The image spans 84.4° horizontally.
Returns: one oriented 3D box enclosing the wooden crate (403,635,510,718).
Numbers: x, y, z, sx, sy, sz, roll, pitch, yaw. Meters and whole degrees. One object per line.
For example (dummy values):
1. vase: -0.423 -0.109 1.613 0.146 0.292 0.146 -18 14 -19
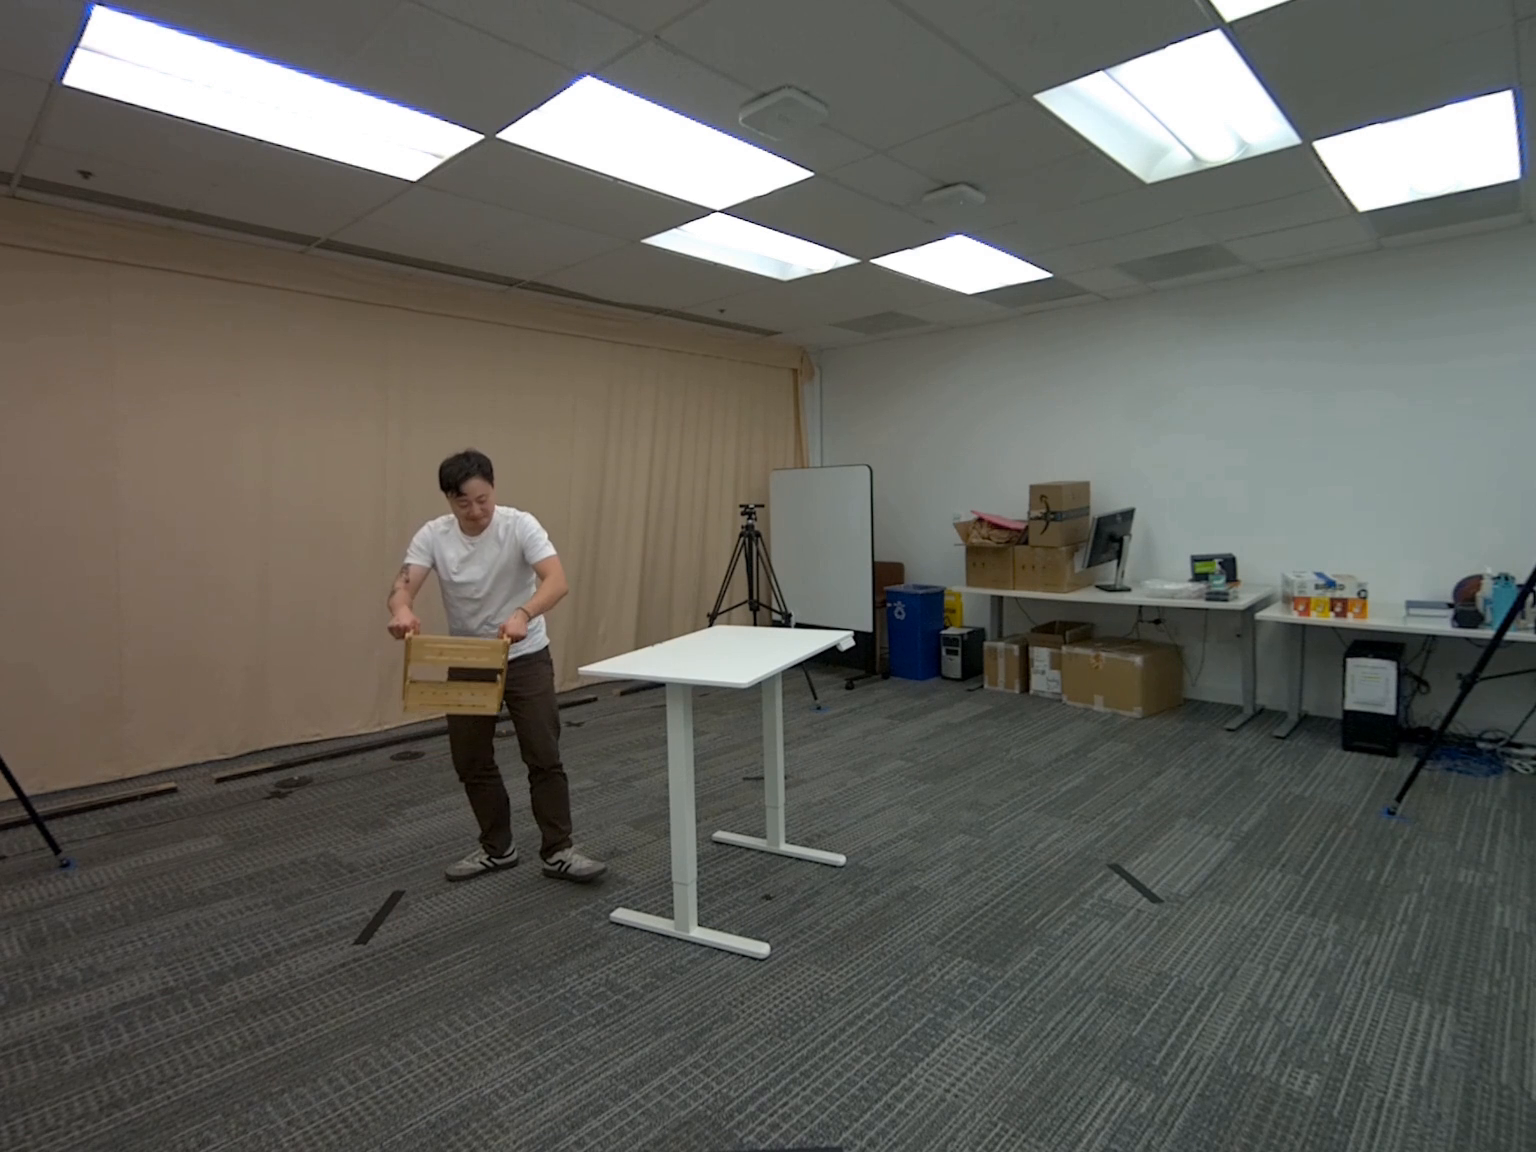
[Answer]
1. wooden crate: -1.042 0.305 2.820 0.318 0.272 0.309 4 6 -19
